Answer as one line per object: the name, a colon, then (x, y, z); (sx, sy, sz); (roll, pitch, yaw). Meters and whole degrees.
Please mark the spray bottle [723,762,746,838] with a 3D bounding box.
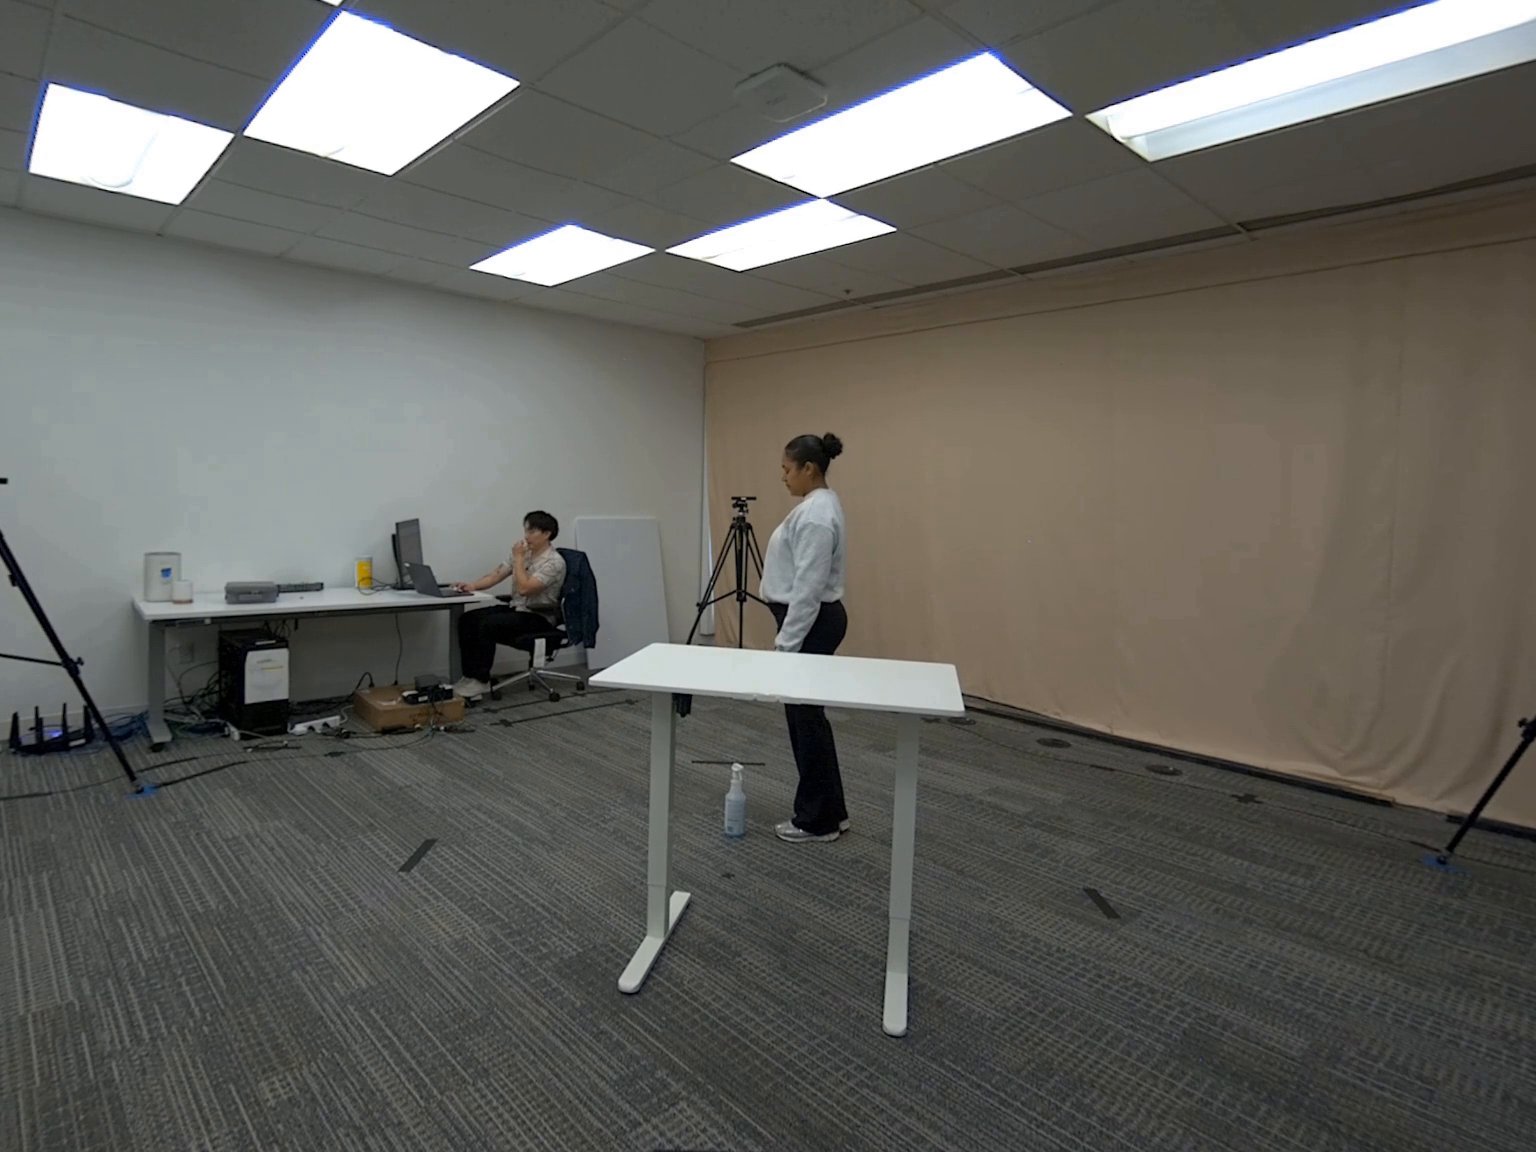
spray bottle: (-0.138, 0.922, 3.492); (0.087, 0.296, 0.090); (2, 4, 0)
